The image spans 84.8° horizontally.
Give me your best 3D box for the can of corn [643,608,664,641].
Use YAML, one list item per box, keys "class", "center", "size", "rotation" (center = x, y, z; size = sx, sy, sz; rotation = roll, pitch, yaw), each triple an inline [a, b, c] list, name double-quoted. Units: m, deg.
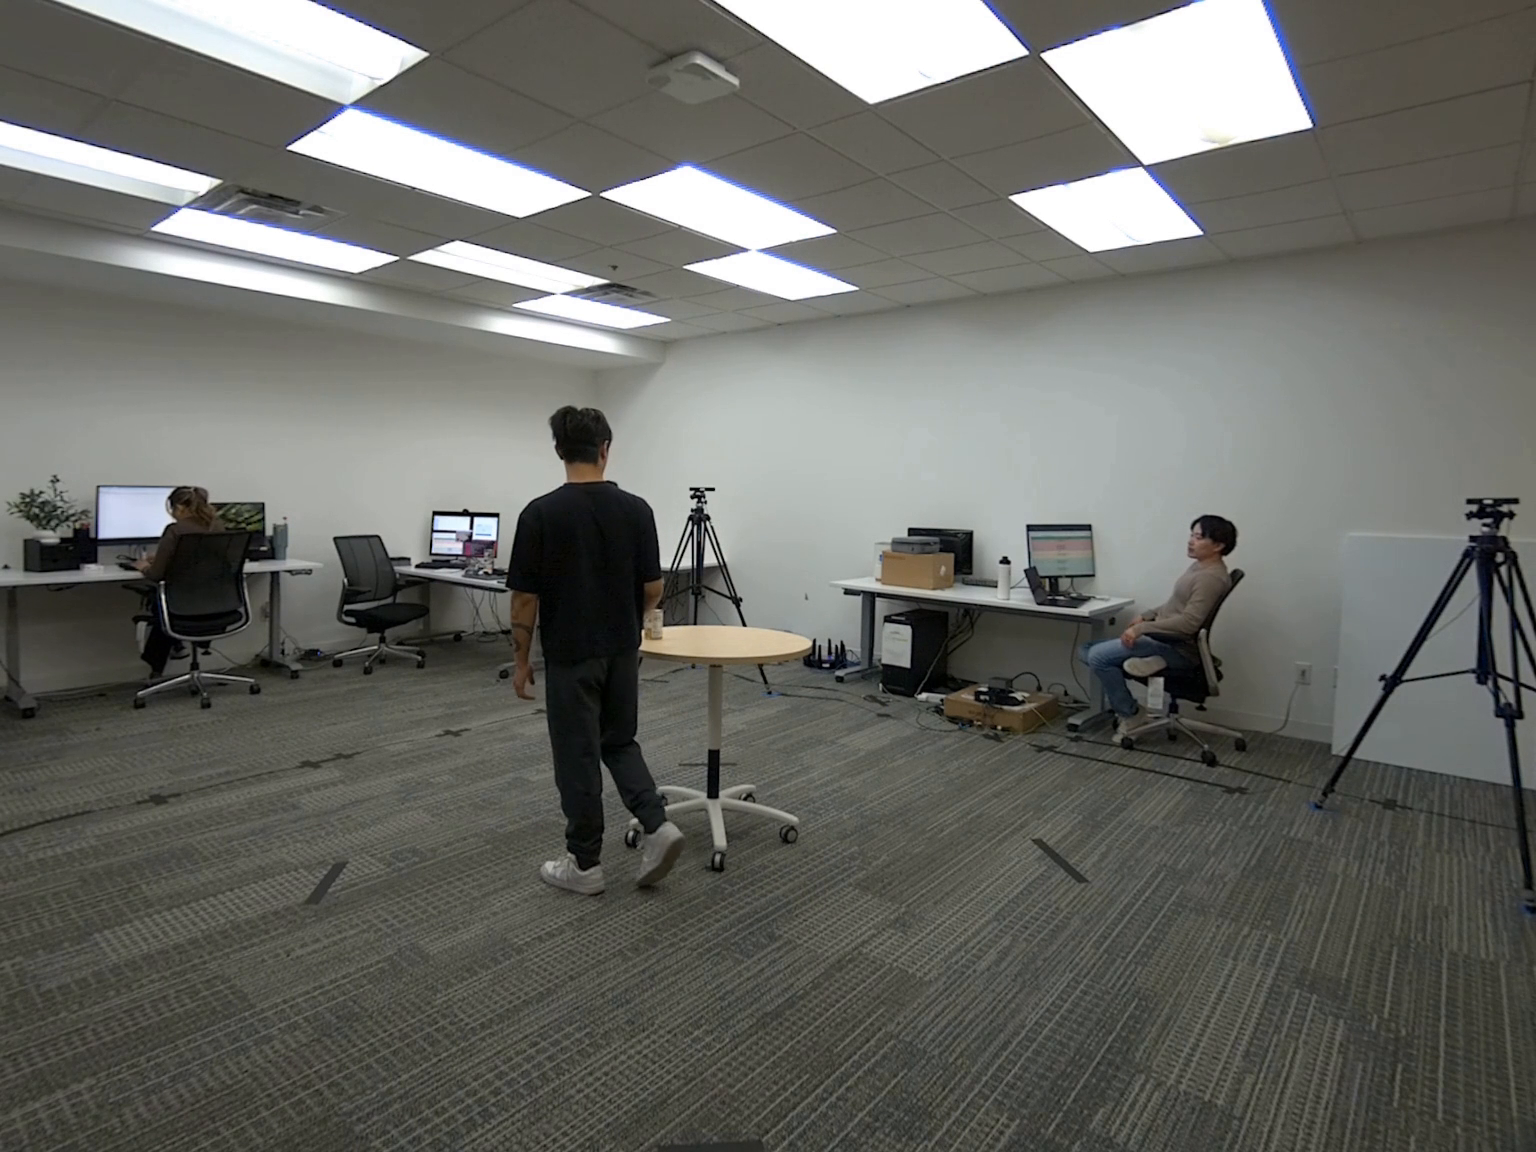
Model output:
- class: "can of corn"
  center: [-0.479, 0.193, 3.424]
  size: [0.074, 0.111, 0.074]
  rotation: [0, 1, -2]
